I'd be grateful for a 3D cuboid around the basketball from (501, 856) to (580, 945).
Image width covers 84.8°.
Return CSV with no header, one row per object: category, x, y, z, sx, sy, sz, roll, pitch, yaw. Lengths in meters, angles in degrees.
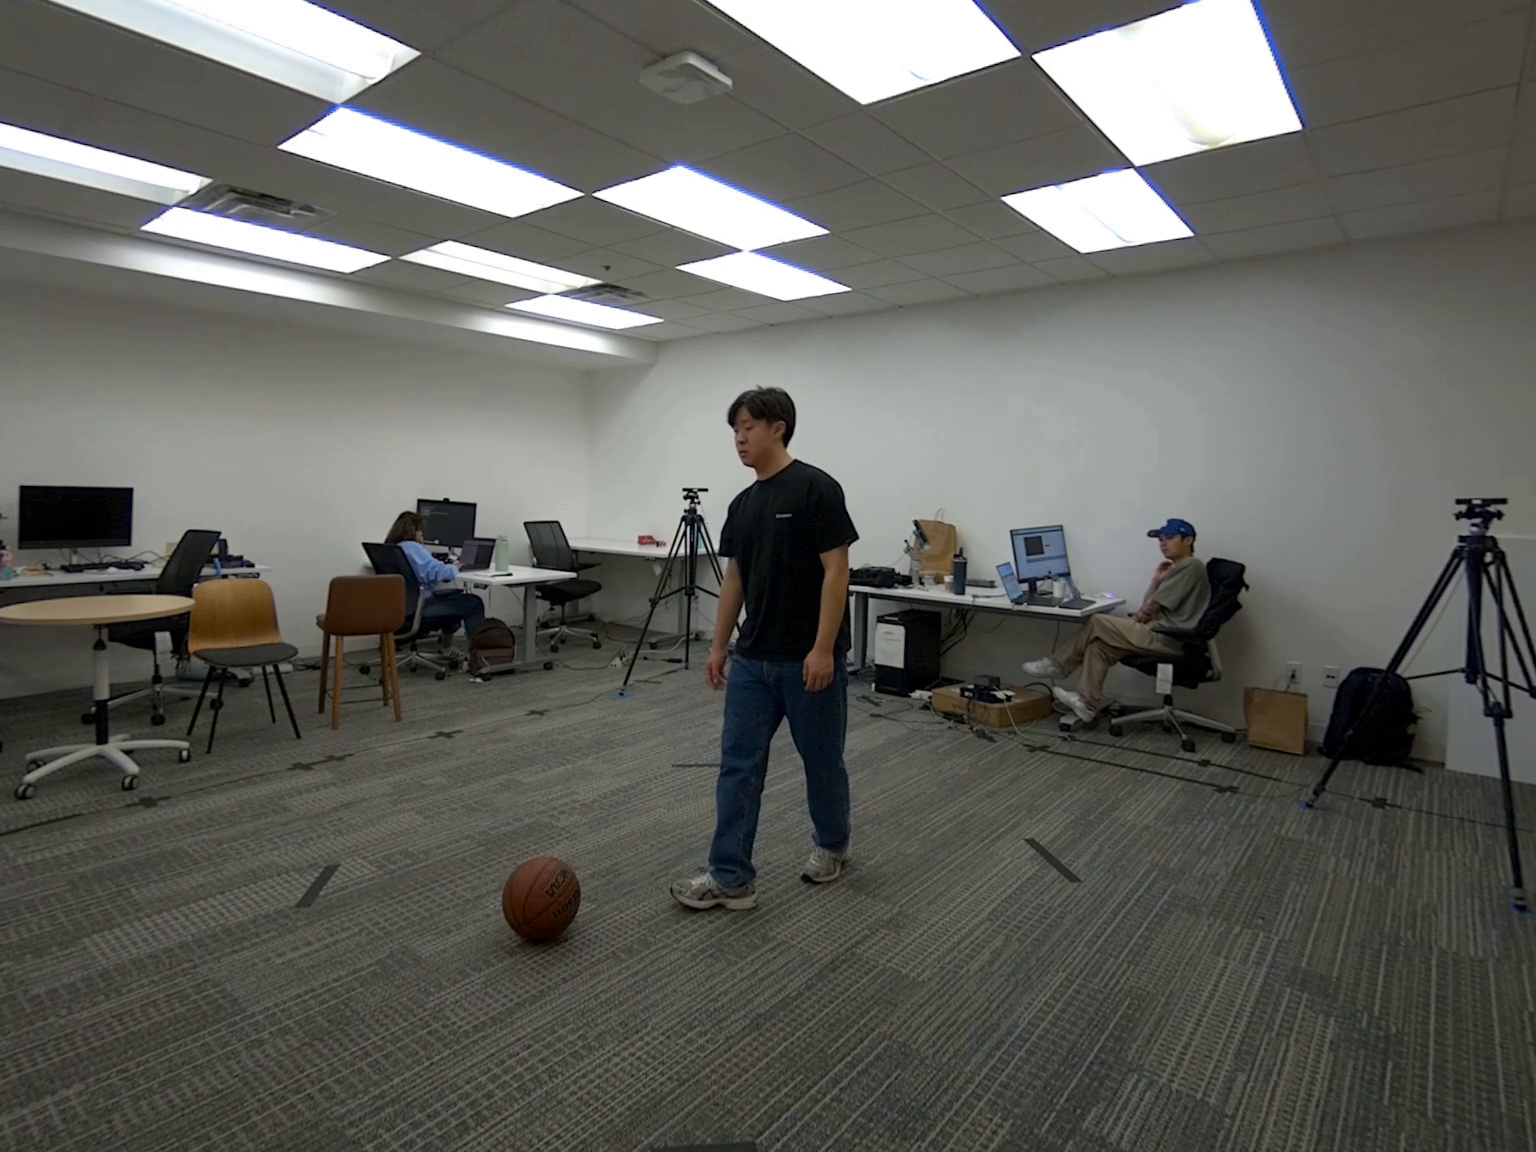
basketball,-0.704,0.988,2.624,0.236,0.235,0.237,1,4,-2
